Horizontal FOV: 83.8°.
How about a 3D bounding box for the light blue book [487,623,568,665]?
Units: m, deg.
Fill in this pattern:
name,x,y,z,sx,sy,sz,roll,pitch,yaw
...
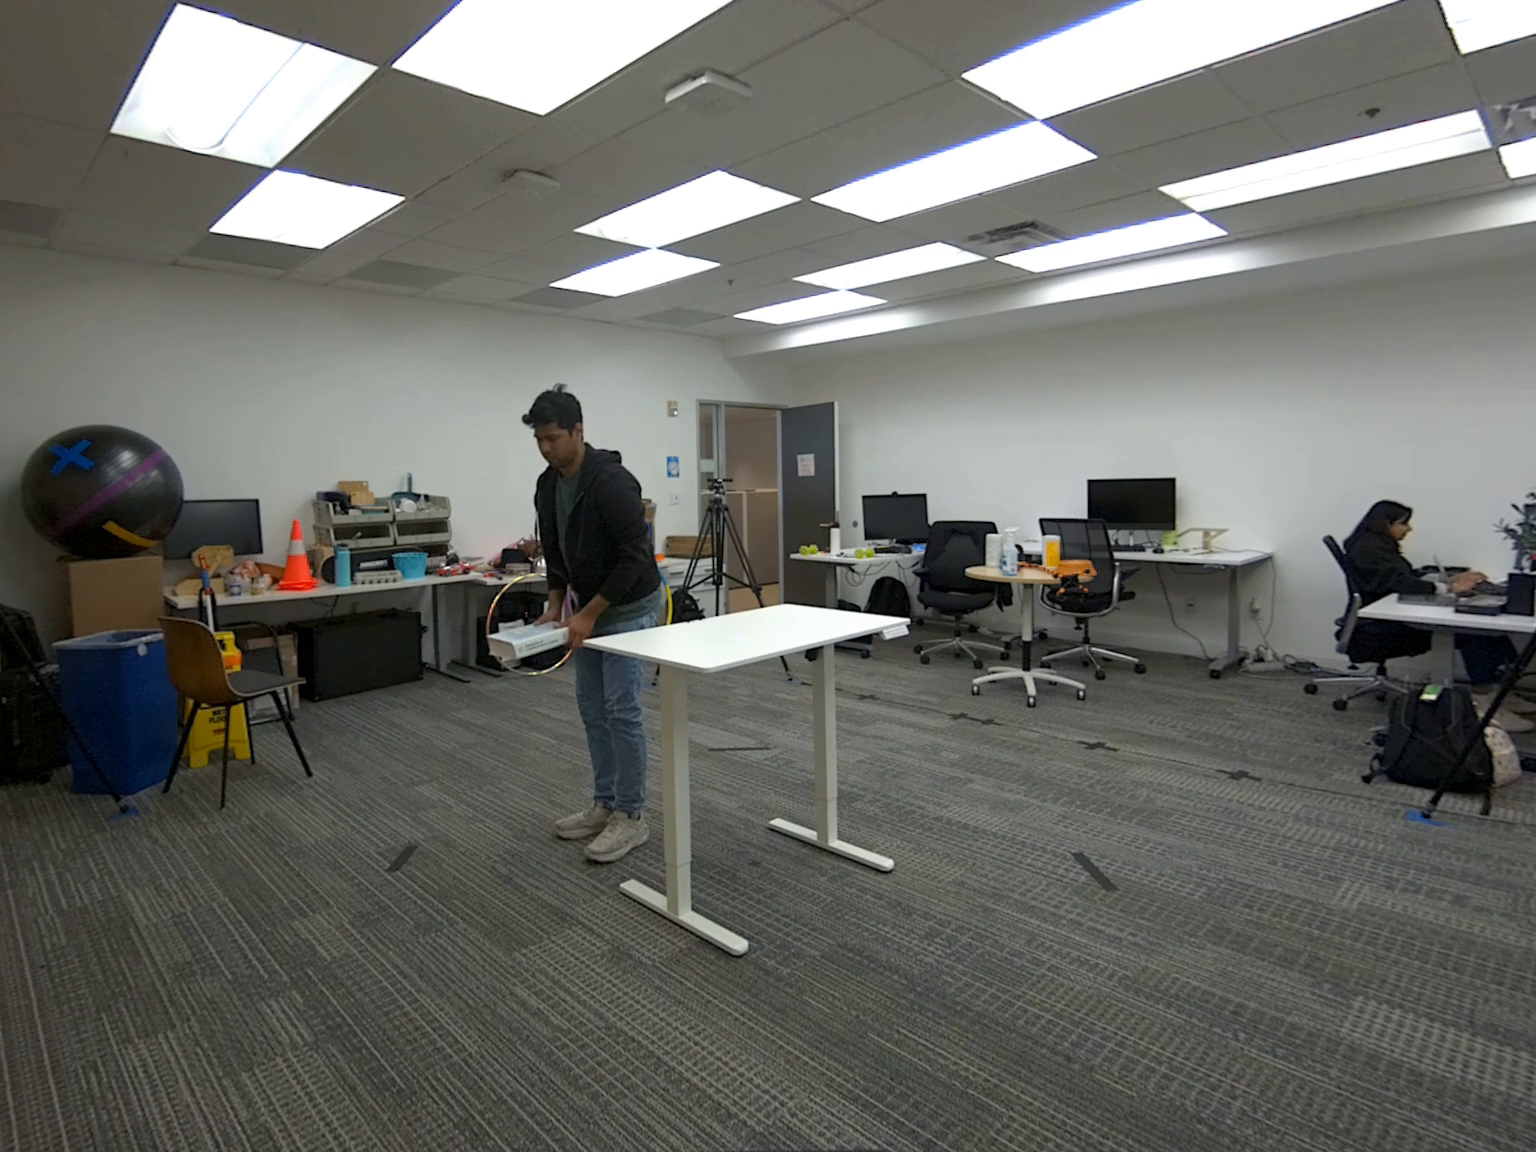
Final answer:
name,x,y,z,sx,sy,sz,roll,pitch,yaw
light blue book,-0.855,0.239,3.088,0.197,0.058,0.255,5,14,45
